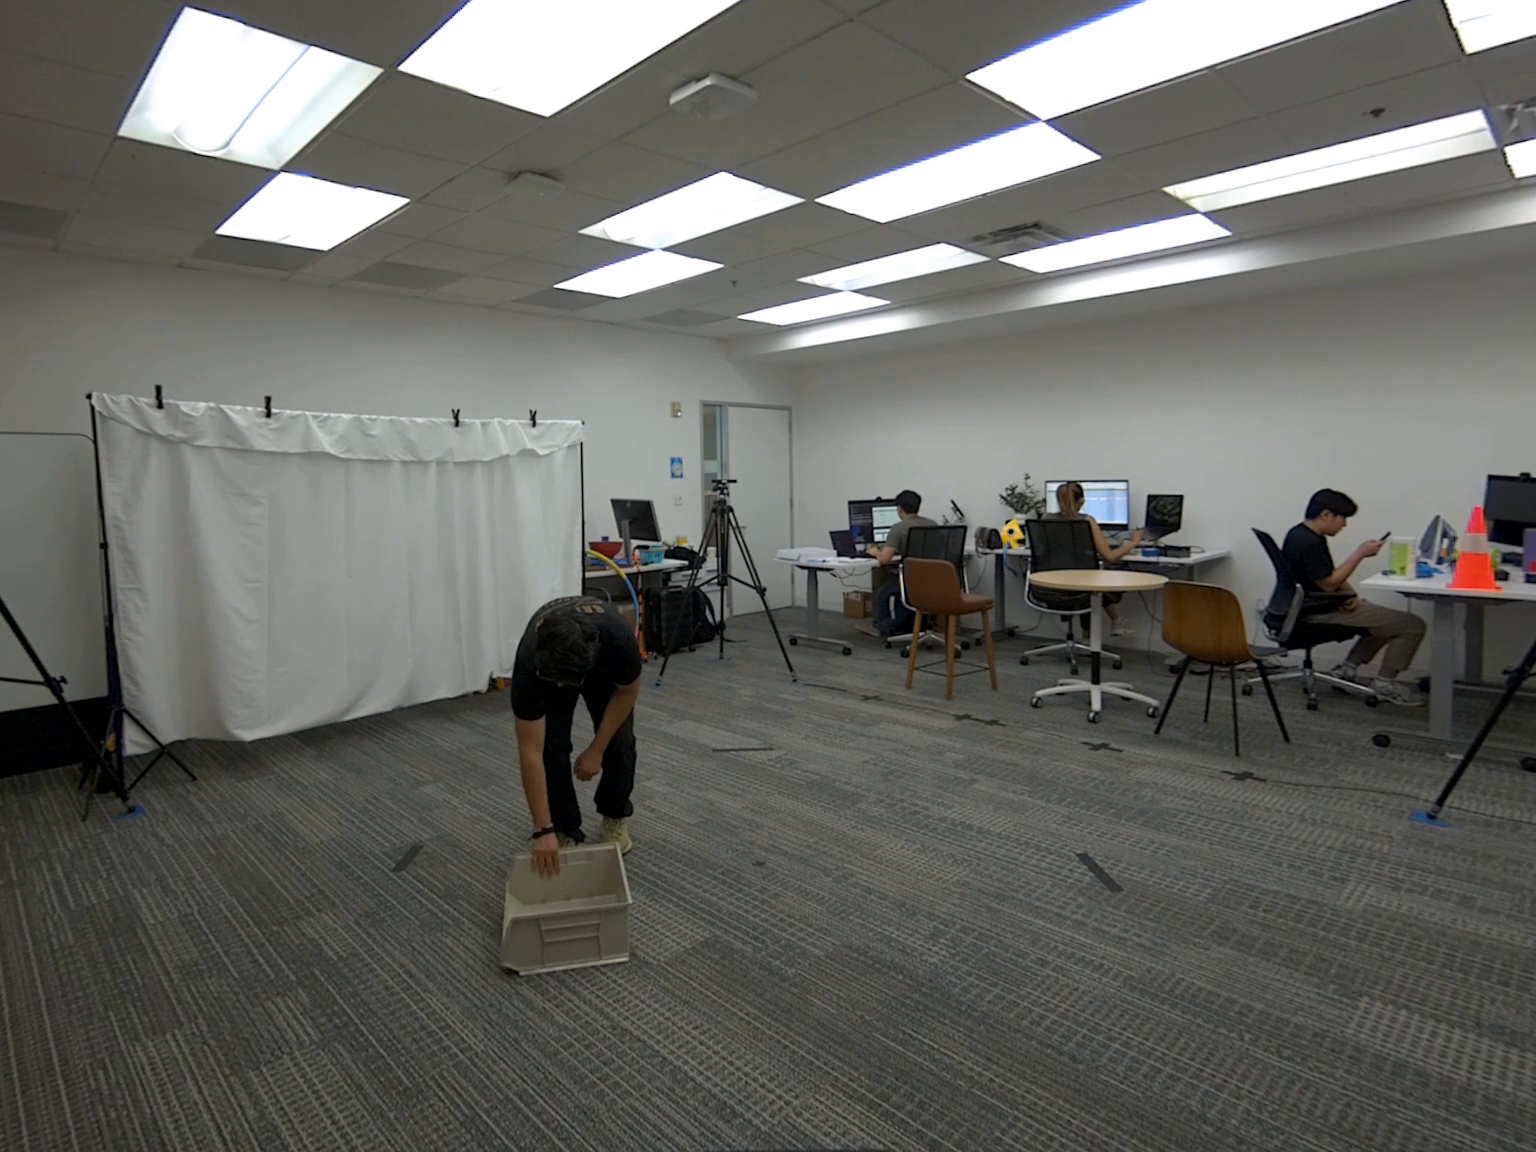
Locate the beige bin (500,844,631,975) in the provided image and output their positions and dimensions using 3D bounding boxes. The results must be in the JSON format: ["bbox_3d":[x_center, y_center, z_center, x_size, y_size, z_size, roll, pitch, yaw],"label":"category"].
[{"bbox_3d":[-0.630,1.024,2.651,0.372,0.188,0.429,-1,5,-14],"label":"beige bin"}]
